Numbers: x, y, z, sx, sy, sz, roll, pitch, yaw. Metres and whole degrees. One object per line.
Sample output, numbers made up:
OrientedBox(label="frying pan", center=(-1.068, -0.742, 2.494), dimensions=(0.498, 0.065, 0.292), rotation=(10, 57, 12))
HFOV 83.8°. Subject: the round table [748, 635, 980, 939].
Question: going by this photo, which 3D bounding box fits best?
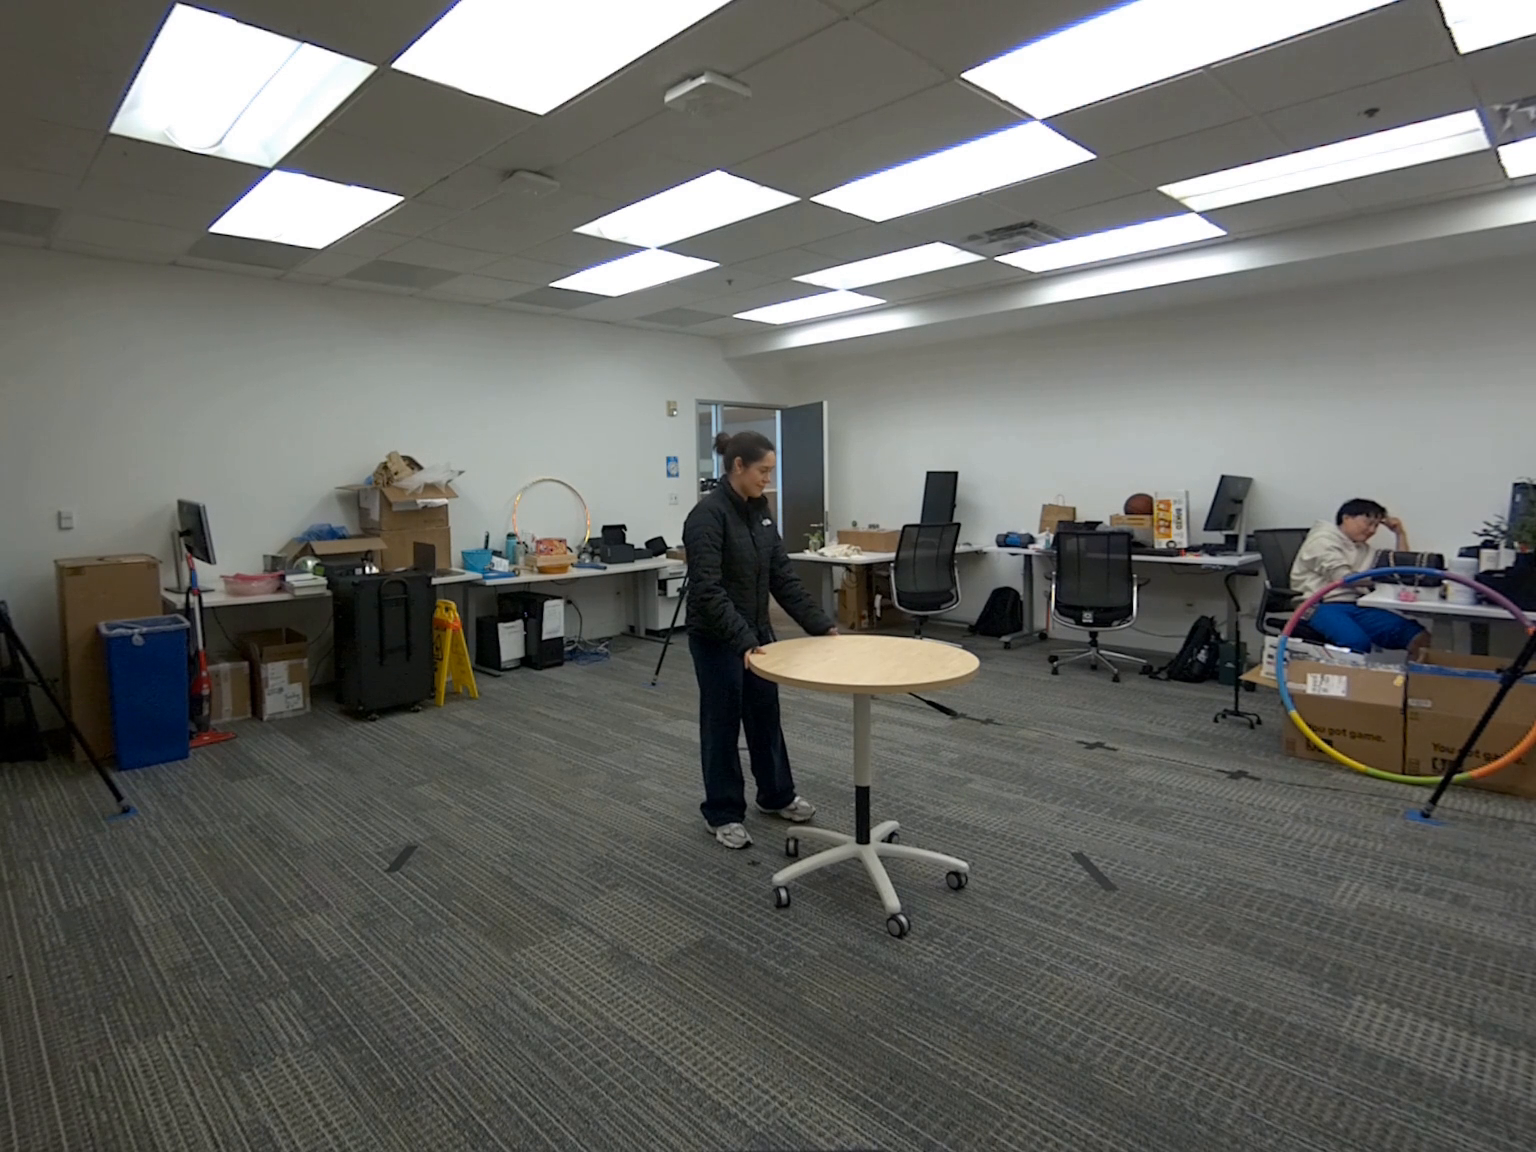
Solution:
OrientedBox(label="round table", center=(0.316, 0.660, 2.949), dimensions=(0.784, 0.783, 0.789), rotation=(-1, 5, -2))
